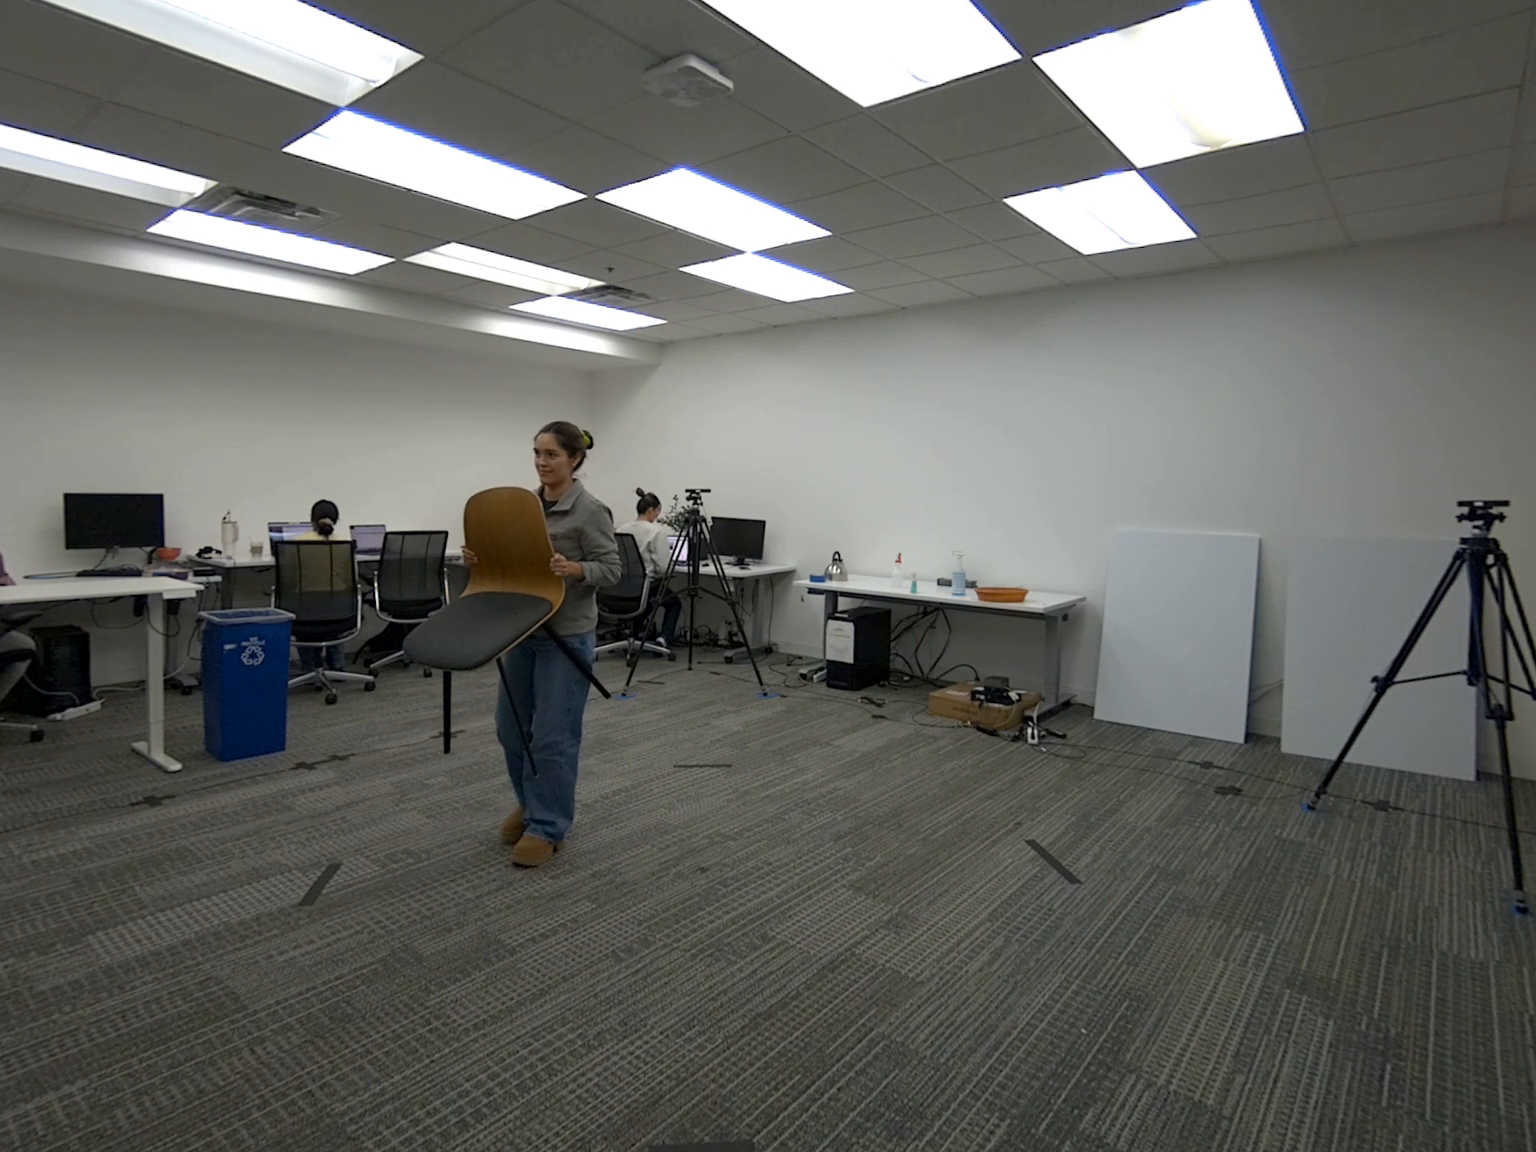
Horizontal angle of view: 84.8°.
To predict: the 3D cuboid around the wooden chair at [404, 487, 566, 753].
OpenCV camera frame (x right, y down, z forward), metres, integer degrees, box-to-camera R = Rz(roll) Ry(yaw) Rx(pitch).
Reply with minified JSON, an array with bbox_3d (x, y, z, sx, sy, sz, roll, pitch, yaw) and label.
[{"bbox_3d":[-0.977,0.189,2.979,0.492,0.858,0.519,4,25,30],"label":"wooden chair"}]
